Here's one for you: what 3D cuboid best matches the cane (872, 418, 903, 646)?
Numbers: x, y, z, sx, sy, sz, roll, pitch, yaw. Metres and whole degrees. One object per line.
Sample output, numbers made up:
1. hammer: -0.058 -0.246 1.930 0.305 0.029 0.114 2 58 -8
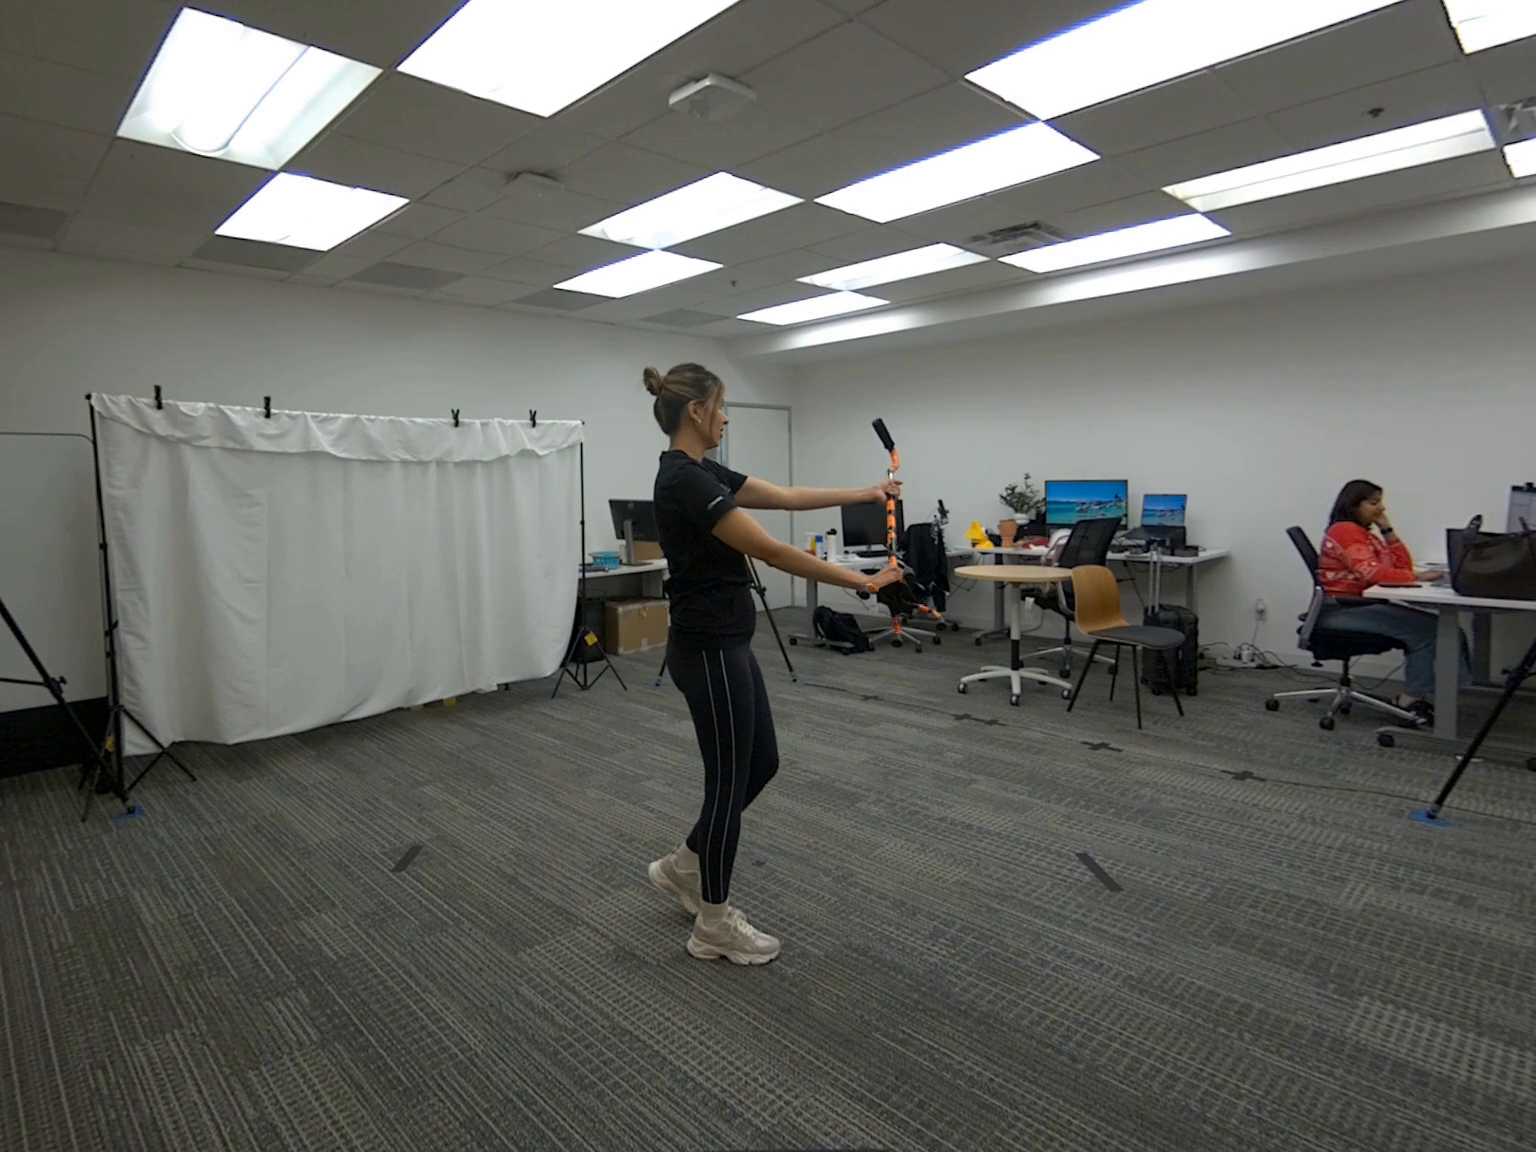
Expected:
1. cane: 0.380 -0.187 2.525 0.153 0.200 0.926 -20 31 21
